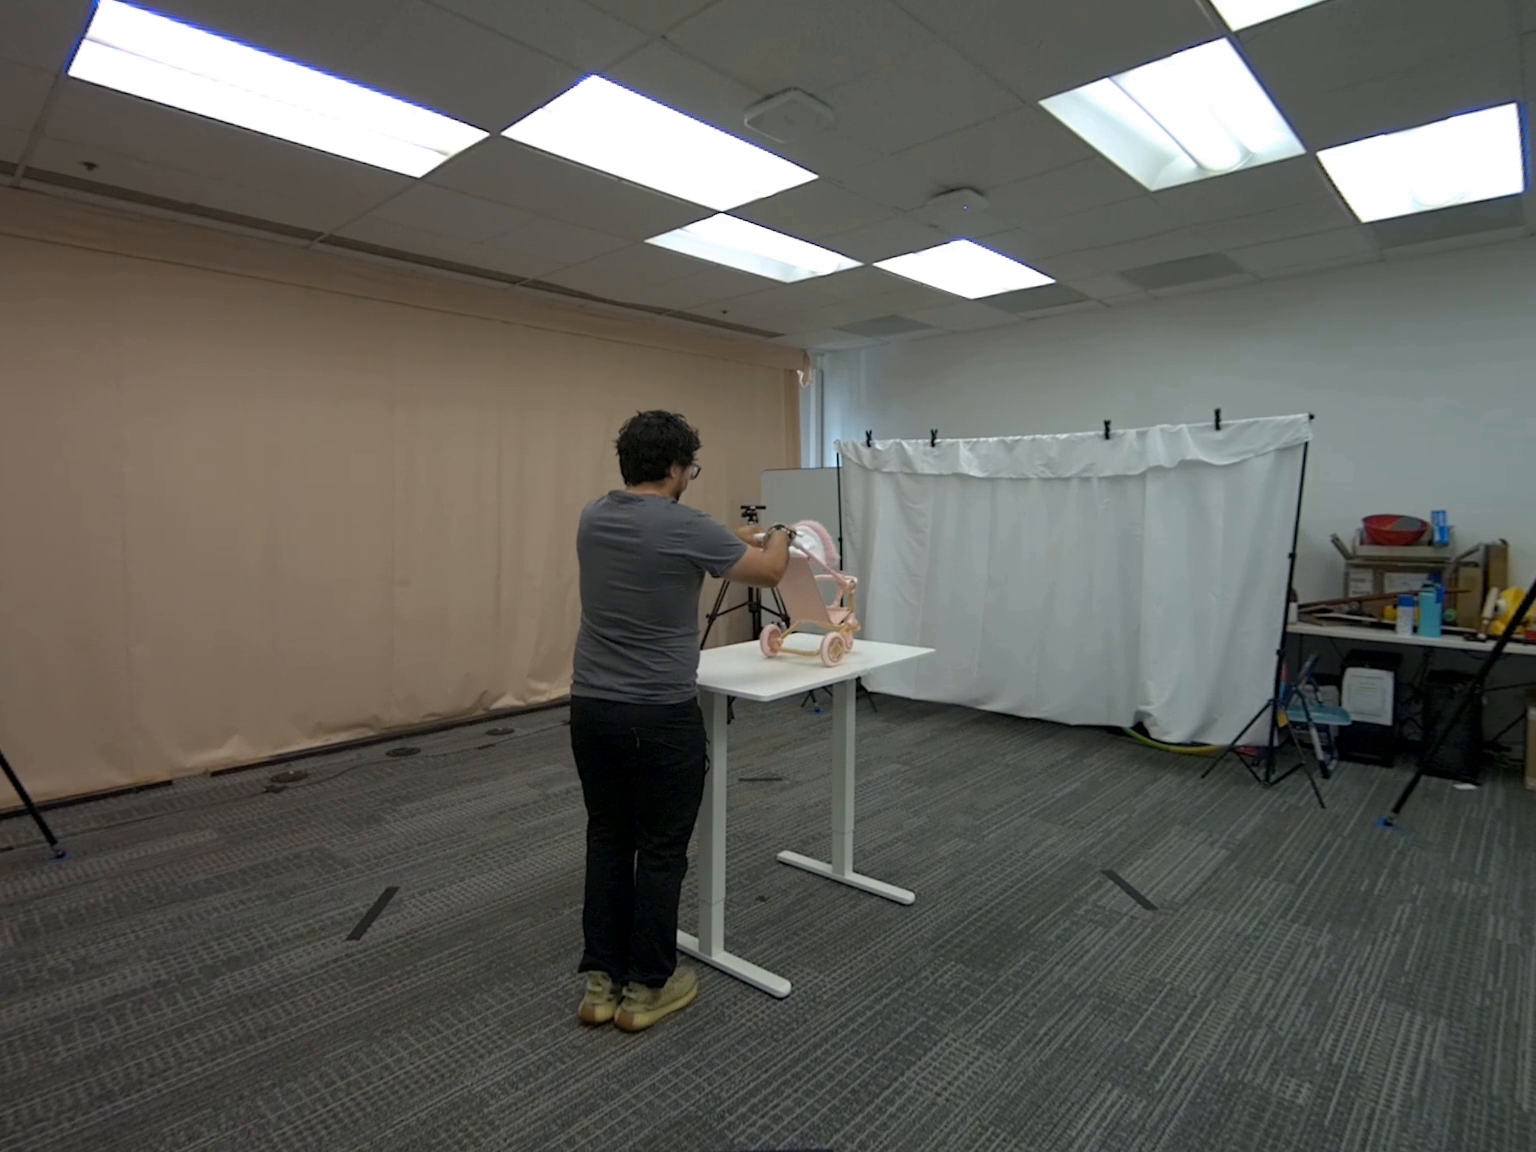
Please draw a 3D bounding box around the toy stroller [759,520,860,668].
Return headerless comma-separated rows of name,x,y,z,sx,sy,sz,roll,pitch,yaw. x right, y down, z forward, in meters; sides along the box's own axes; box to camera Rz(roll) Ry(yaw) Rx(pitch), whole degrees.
toy stroller,0.146,0.055,2.767,0.291,0.529,0.334,3,19,45
